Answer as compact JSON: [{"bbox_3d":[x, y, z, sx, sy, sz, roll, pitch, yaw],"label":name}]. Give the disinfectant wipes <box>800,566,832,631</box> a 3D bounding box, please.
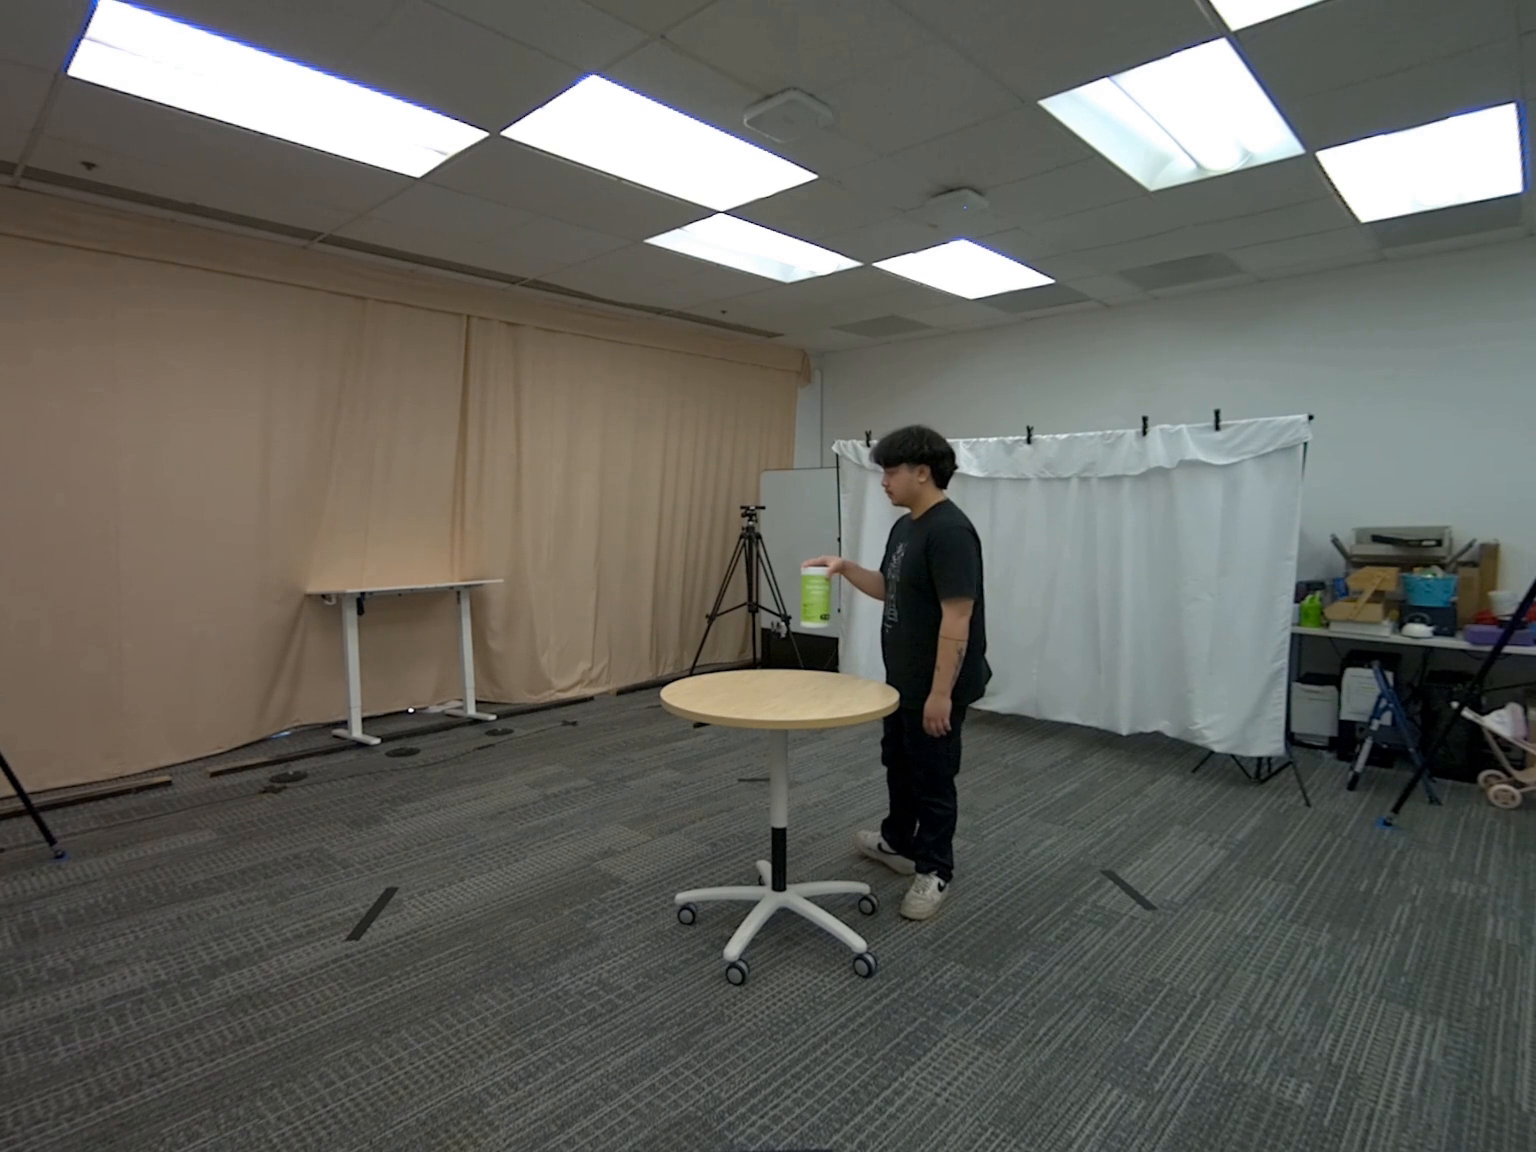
[{"bbox_3d":[0.177,0.080,3.011,0.118,0.217,0.118,1,3,-2],"label":"disinfectant wipes"}]
